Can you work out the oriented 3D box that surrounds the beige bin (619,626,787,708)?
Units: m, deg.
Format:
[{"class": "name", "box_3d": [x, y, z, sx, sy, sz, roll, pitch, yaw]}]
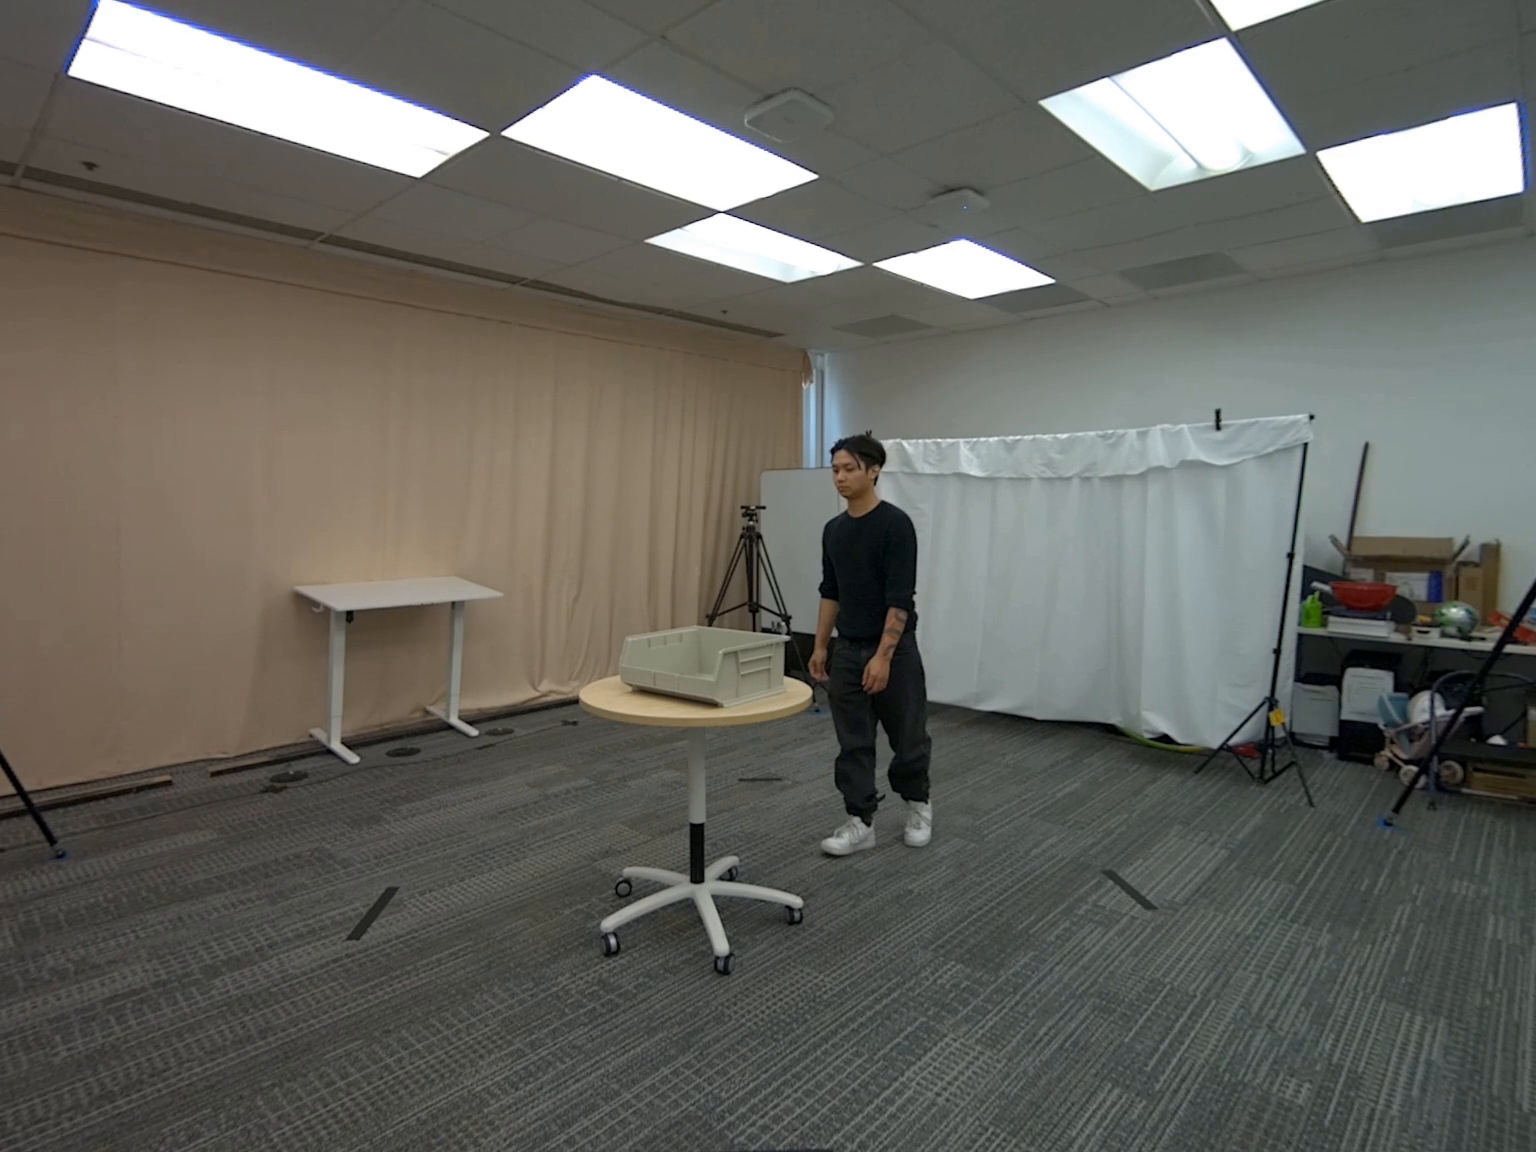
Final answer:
[{"class": "beige bin", "box_3d": [-0.204, 0.291, 2.750, 0.436, 0.189, 0.366, 2, 3, 39]}]
